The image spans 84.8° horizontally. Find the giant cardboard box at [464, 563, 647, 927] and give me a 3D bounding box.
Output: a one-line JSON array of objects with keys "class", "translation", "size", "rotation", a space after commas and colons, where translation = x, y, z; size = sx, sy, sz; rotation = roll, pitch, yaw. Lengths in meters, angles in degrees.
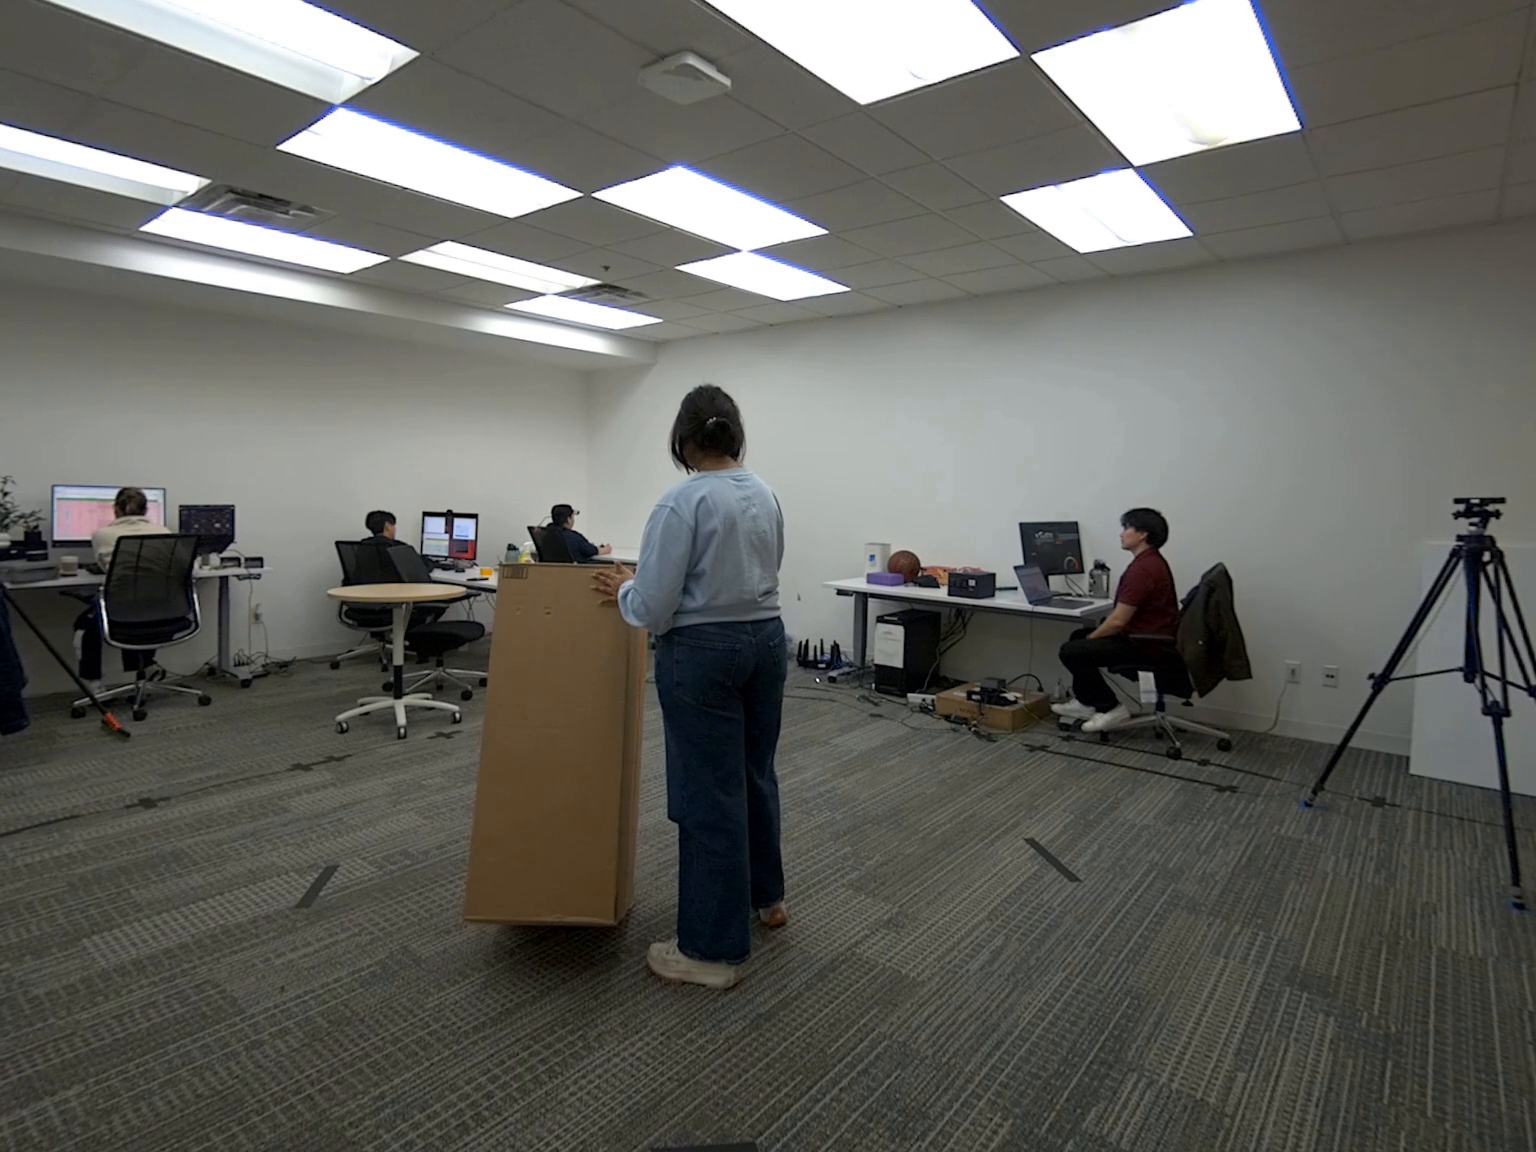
[{"class": "giant cardboard box", "translation": [-0.649, 0.525, 2.747], "size": [0.447, 1.043, 0.575], "rotation": [1, -16, -1]}]
